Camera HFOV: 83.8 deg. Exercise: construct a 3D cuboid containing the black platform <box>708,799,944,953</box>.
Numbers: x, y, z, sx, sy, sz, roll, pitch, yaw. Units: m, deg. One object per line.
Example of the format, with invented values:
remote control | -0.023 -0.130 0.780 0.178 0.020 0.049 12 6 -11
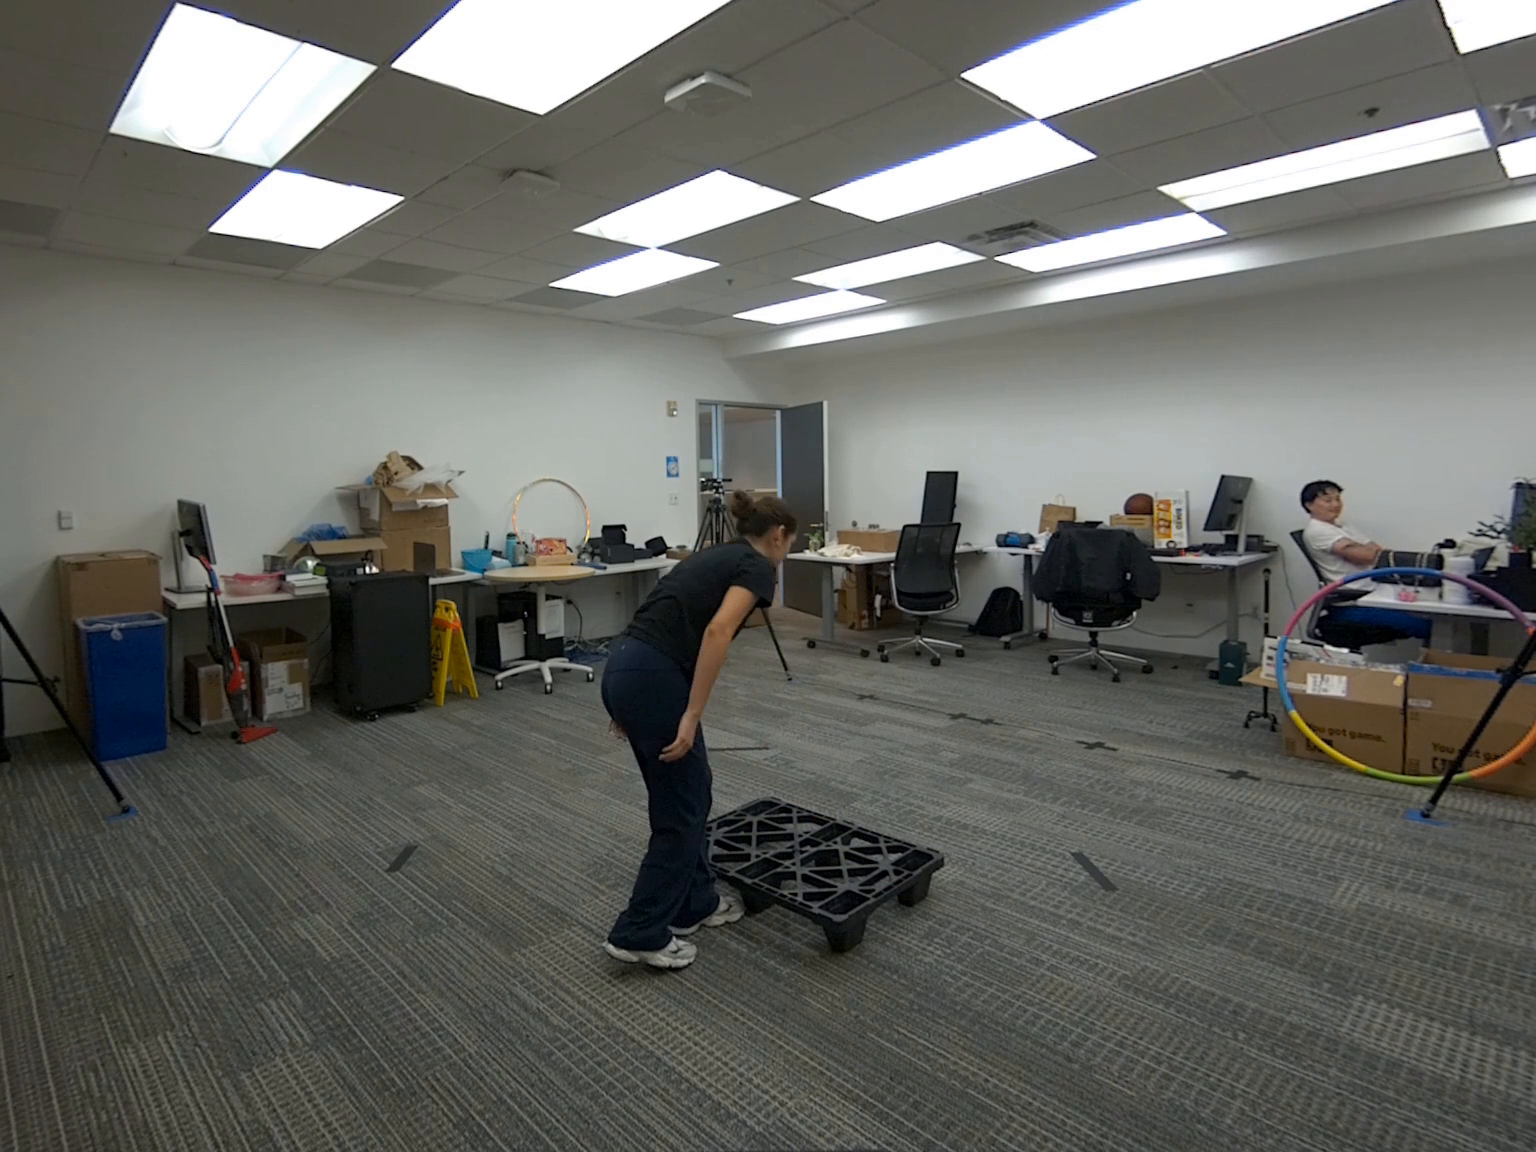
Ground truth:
black platform | 0.102 0.996 2.934 0.830 0.142 0.590 5 9 42
